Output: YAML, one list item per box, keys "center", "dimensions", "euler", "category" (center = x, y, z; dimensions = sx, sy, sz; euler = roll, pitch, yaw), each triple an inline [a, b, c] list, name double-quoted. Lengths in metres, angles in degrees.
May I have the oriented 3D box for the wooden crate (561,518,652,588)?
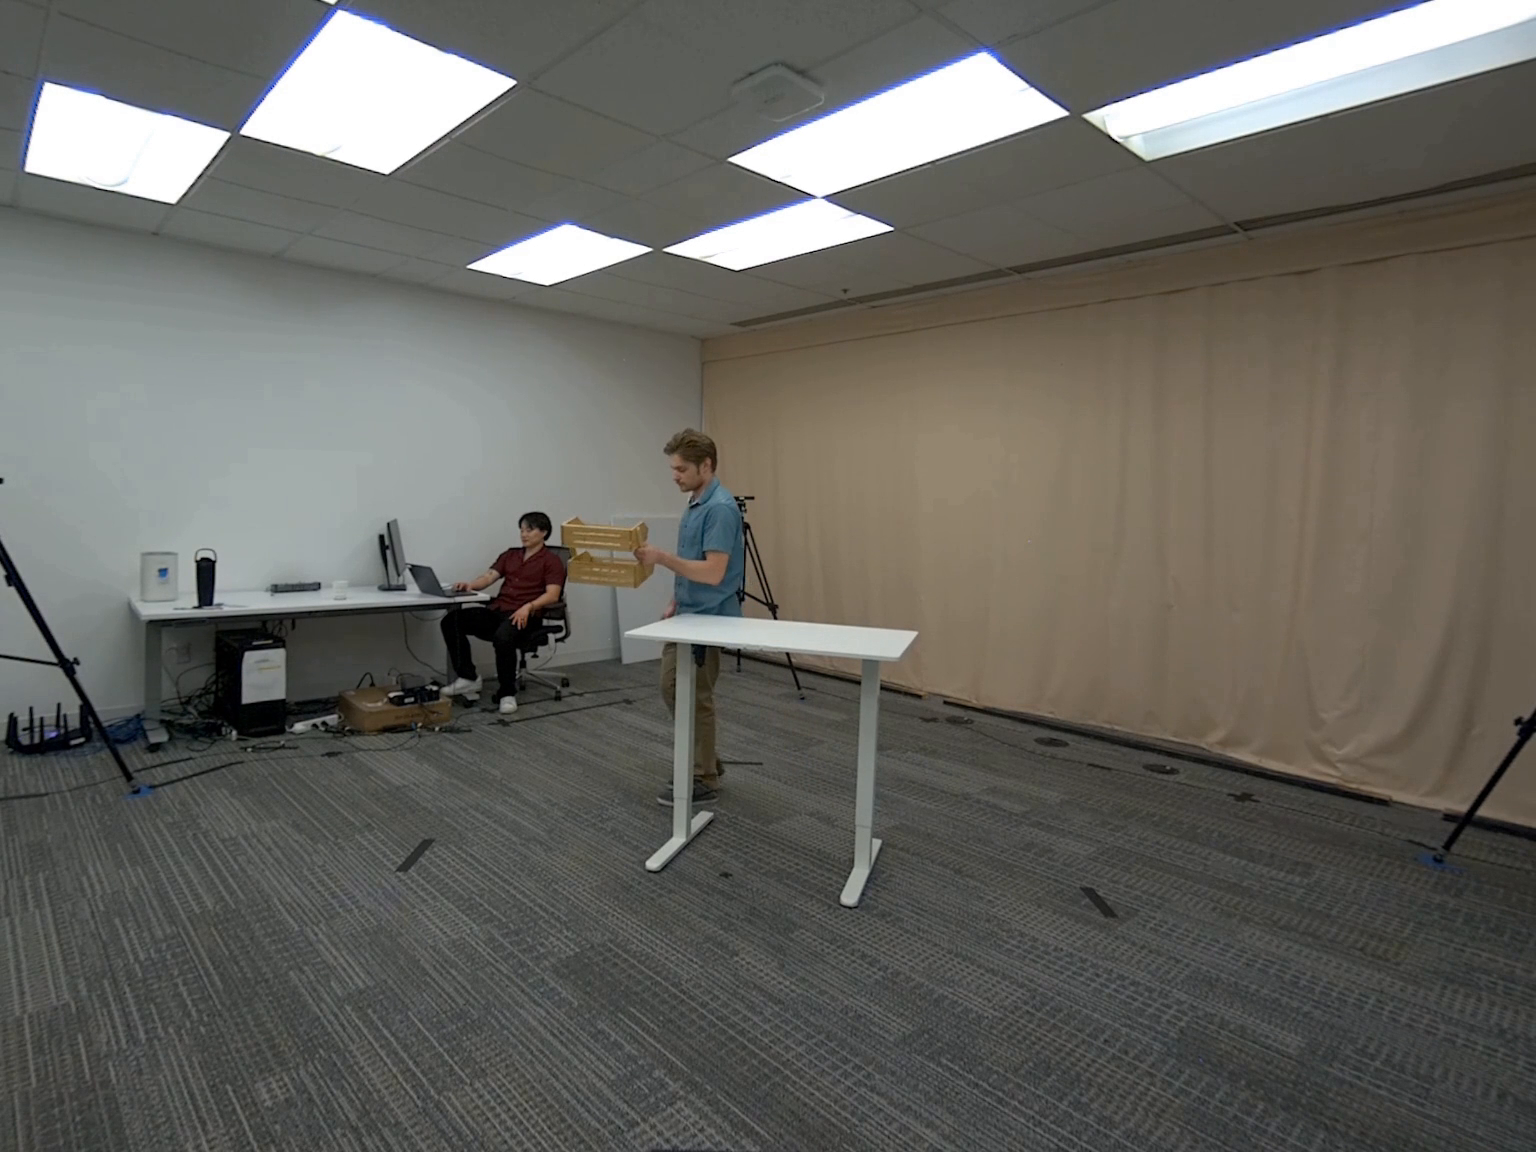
- center: [-0.677, -0.115, 3.530]
  dimensions: [0.327, 0.270, 0.302]
  euler: [5, 17, 10]
  category: "wooden crate"
